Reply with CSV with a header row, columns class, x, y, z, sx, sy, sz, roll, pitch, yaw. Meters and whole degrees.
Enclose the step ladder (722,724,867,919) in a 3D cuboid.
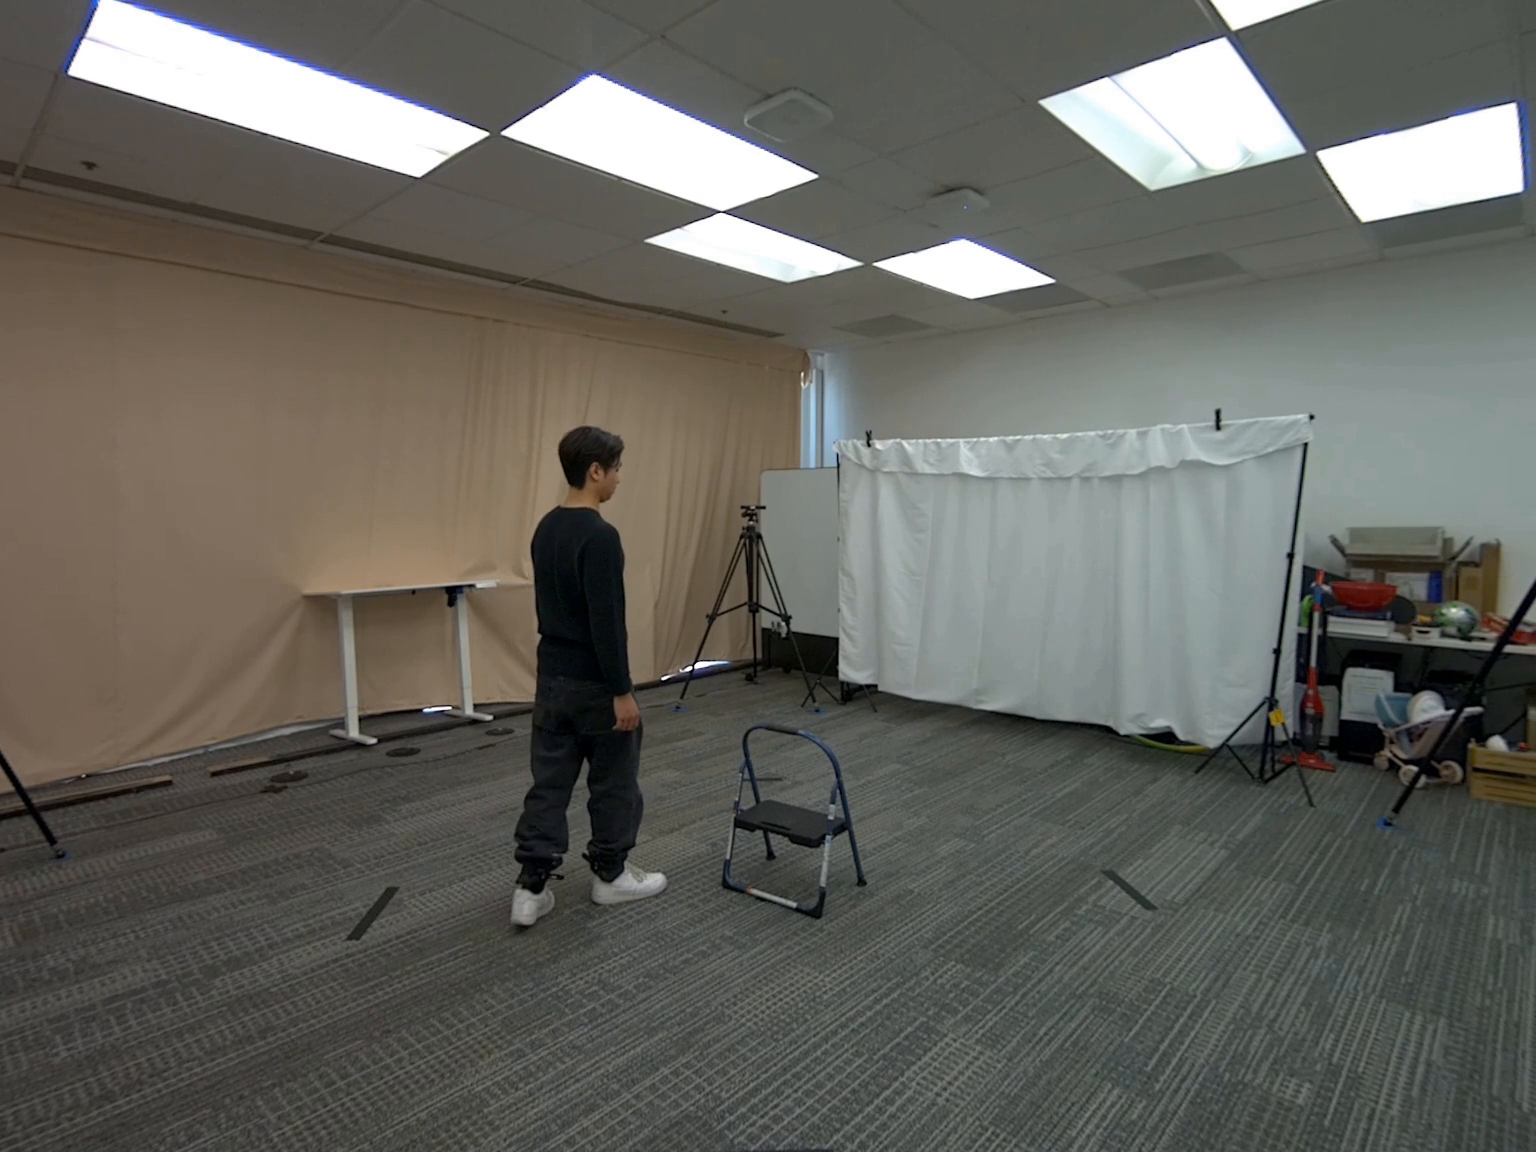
class,x,y,z,sx,sy,sz,roll,pitch,yaw
step ladder,0.098,0.835,3.076,0.444,0.605,0.339,2,3,33
